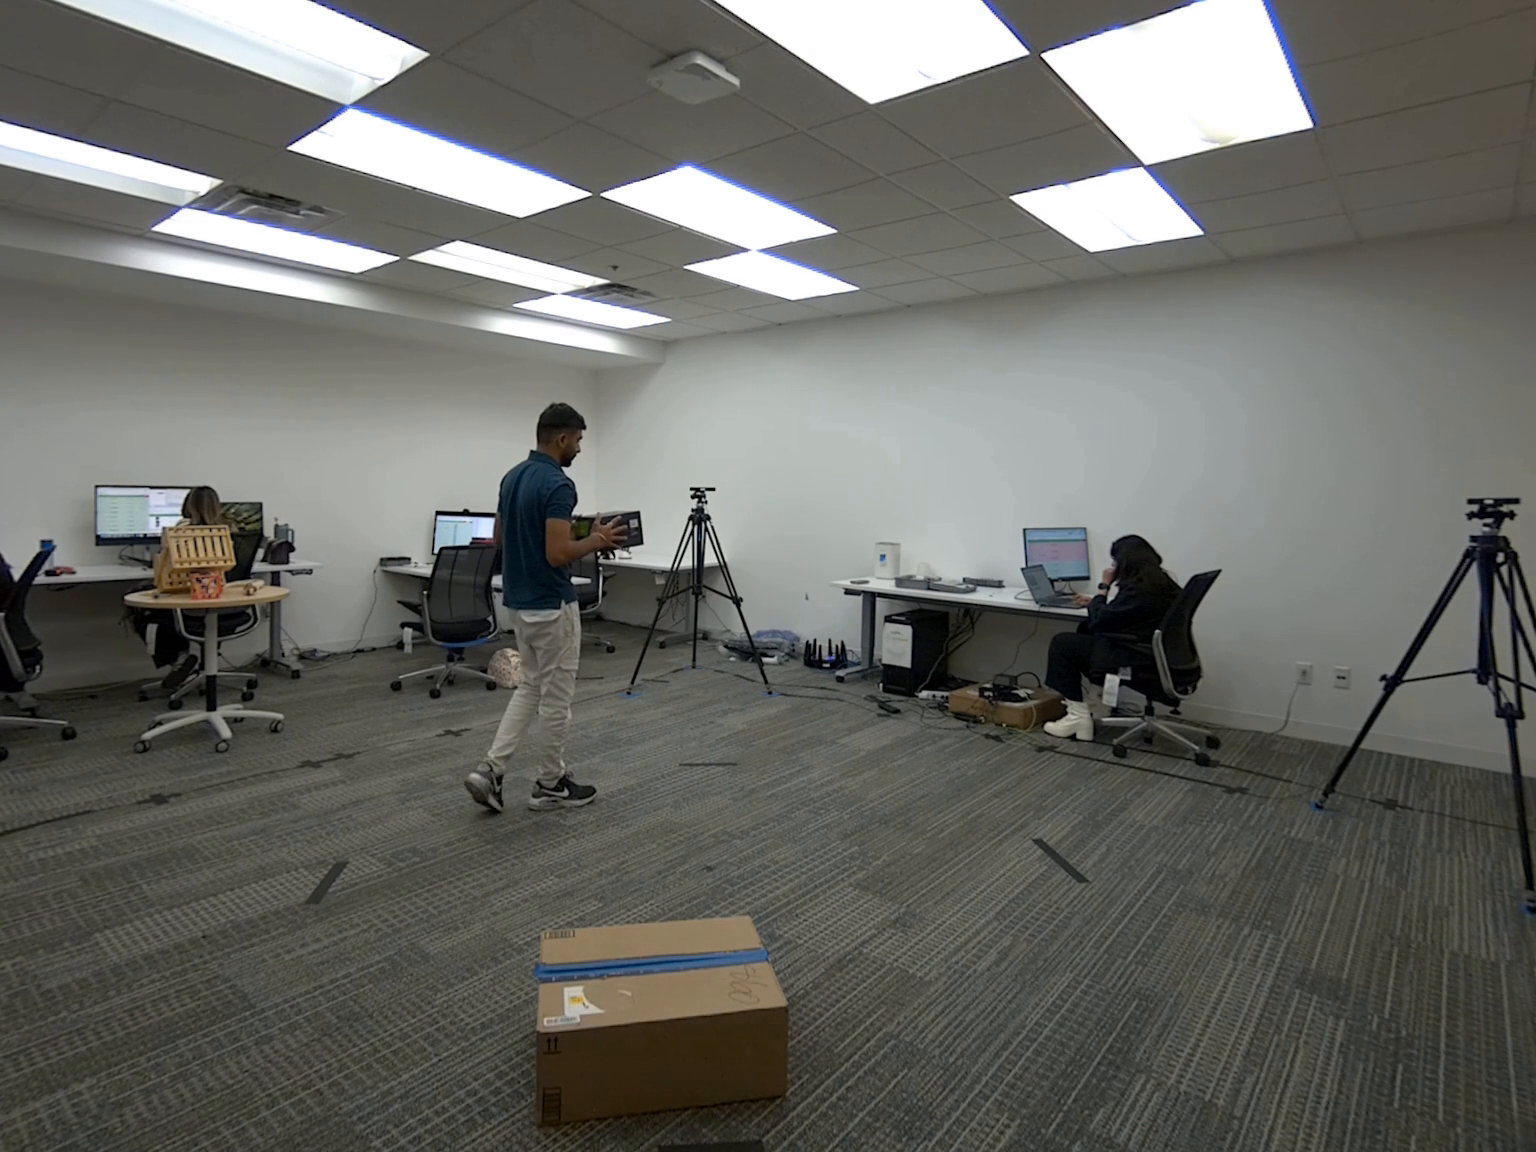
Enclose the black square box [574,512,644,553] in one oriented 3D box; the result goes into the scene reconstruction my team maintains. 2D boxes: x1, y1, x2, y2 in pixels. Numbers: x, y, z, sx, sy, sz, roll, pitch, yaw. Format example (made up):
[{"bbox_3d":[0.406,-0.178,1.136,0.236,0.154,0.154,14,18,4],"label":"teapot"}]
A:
[{"bbox_3d":[-0.725,-0.205,3.823,0.211,0.155,0.235,-9,8,-39],"label":"black square box"}]
